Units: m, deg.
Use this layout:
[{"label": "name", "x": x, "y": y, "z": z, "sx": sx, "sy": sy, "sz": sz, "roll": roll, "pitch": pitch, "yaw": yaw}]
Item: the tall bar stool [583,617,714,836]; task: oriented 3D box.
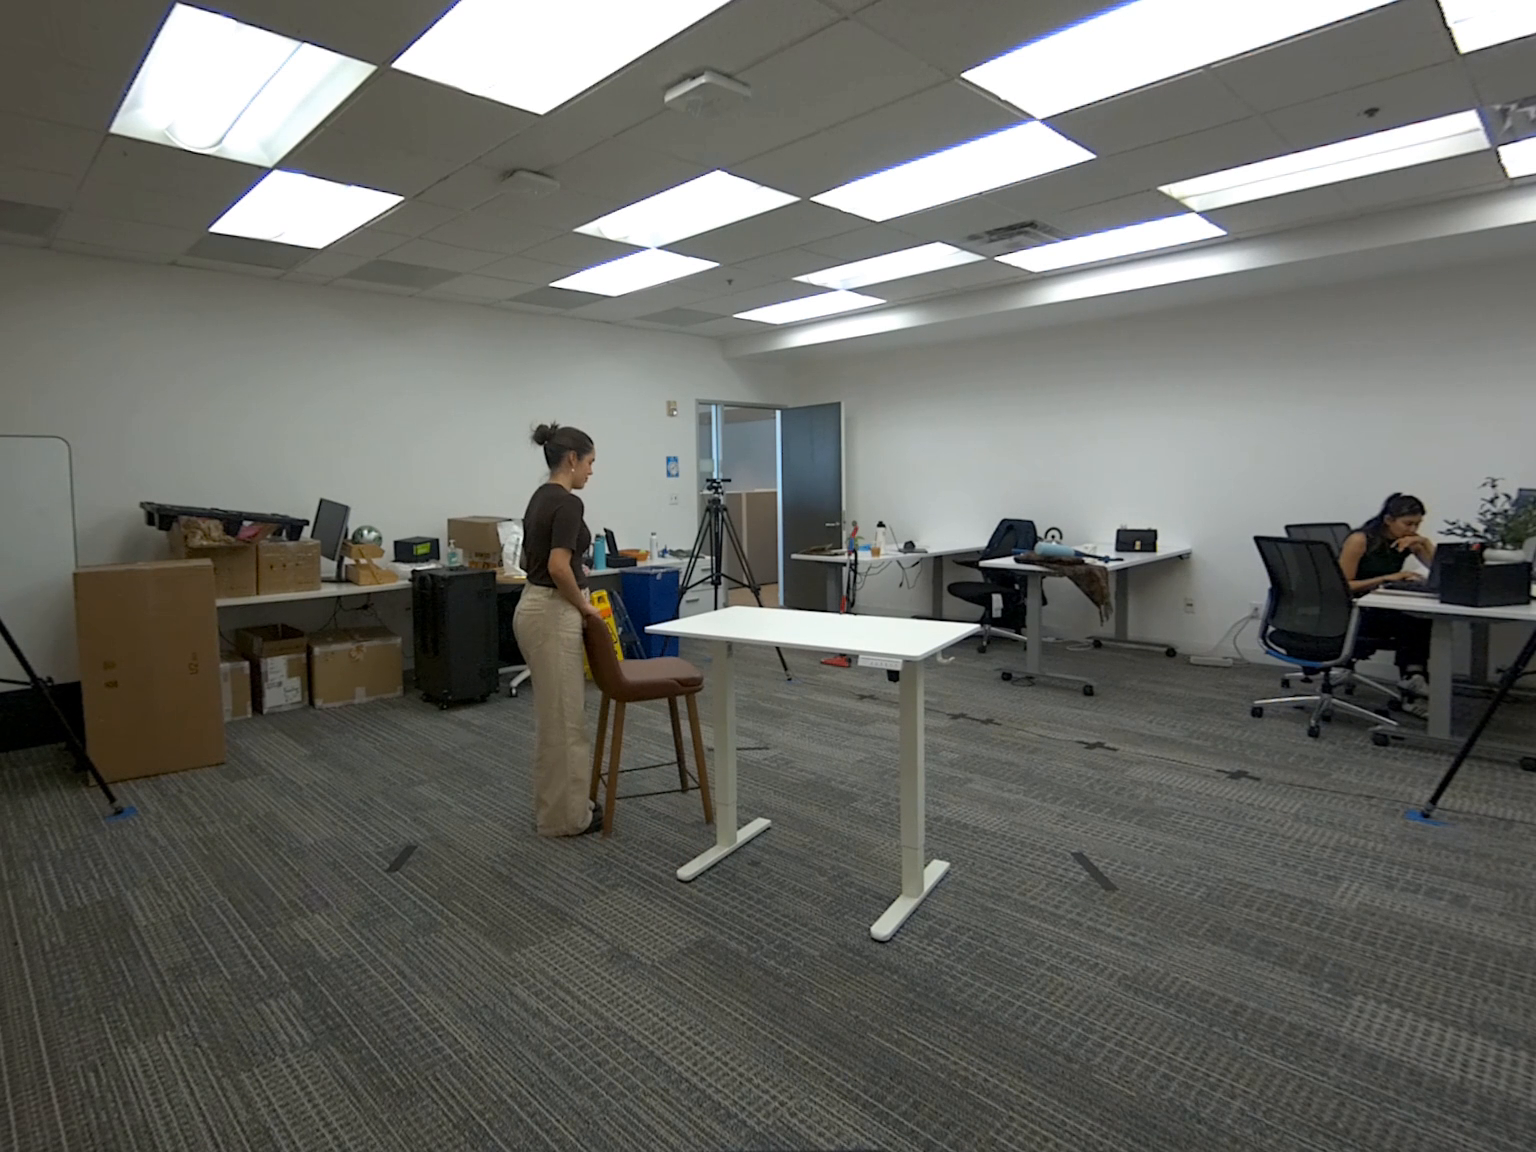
[{"label": "tall bar stool", "x": -0.523, "y": 0.561, "z": 3.572, "sx": 0.460, "sy": 0.887, "sz": 0.465, "roll": -4, "pitch": 4, "yaw": -19}]
